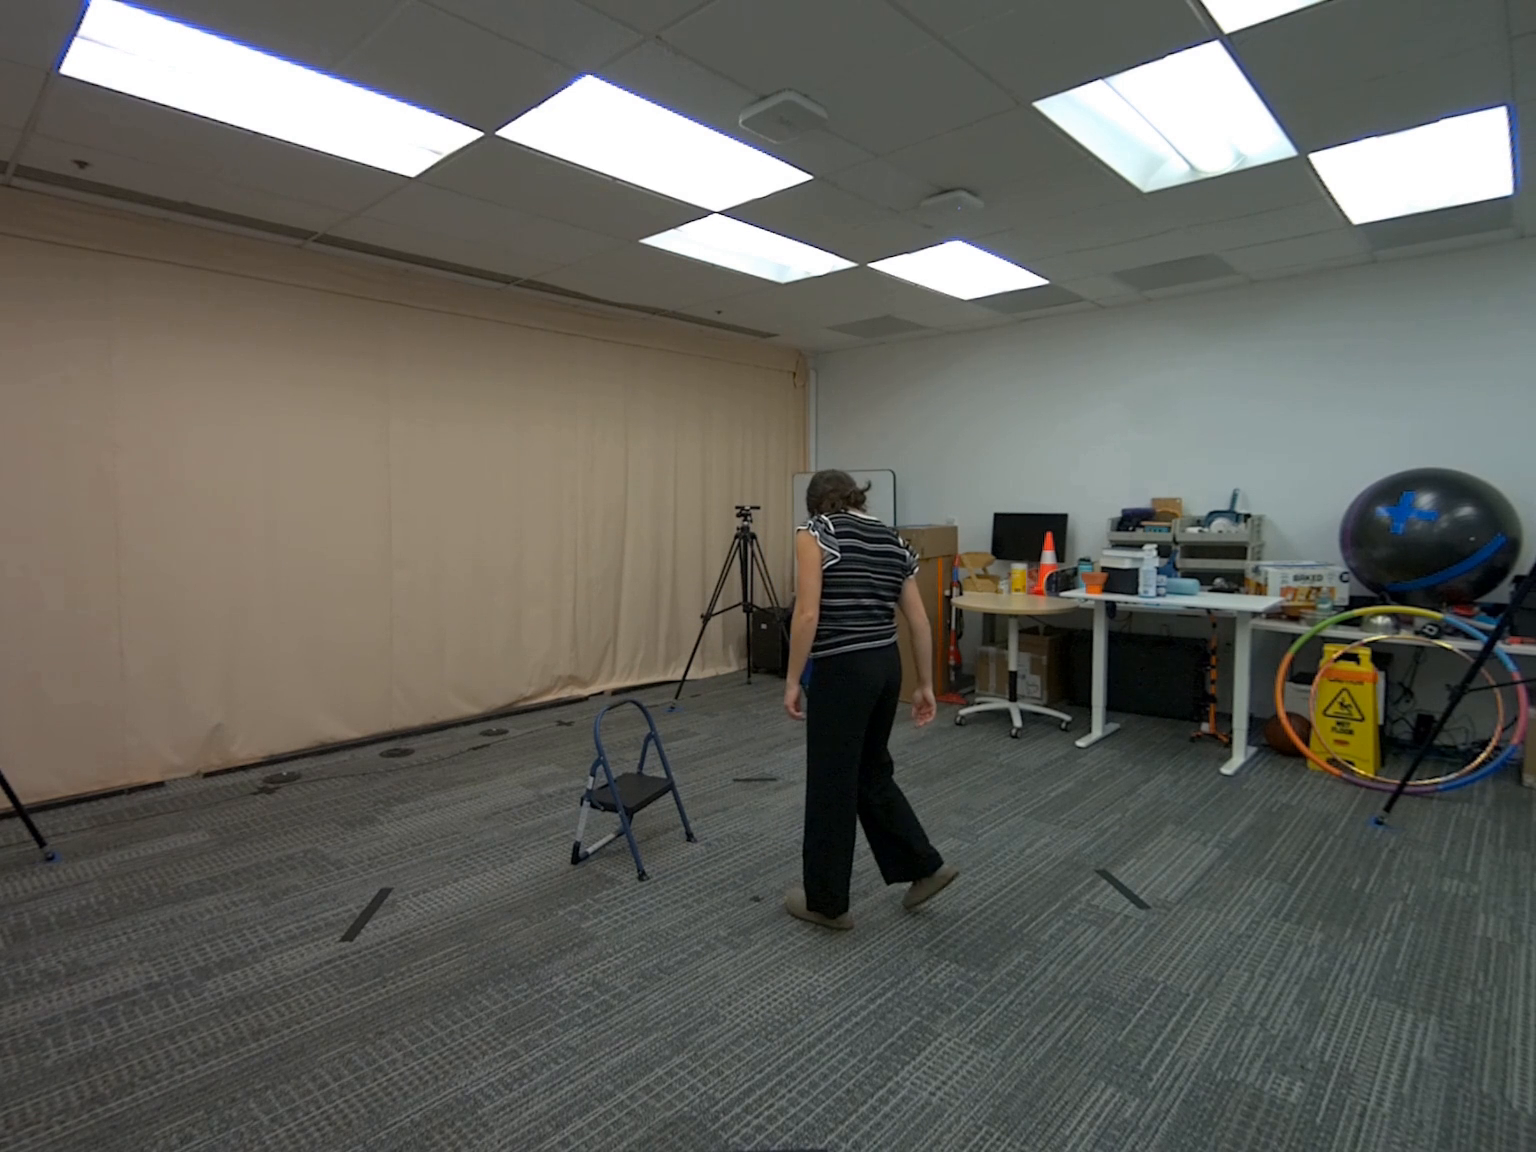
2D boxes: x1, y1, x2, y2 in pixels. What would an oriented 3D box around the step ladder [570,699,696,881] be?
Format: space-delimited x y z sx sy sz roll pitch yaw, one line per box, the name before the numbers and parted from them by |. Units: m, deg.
step ladder | -0.536 0.814 3.382 0.358 0.605 0.421 1 3 23
